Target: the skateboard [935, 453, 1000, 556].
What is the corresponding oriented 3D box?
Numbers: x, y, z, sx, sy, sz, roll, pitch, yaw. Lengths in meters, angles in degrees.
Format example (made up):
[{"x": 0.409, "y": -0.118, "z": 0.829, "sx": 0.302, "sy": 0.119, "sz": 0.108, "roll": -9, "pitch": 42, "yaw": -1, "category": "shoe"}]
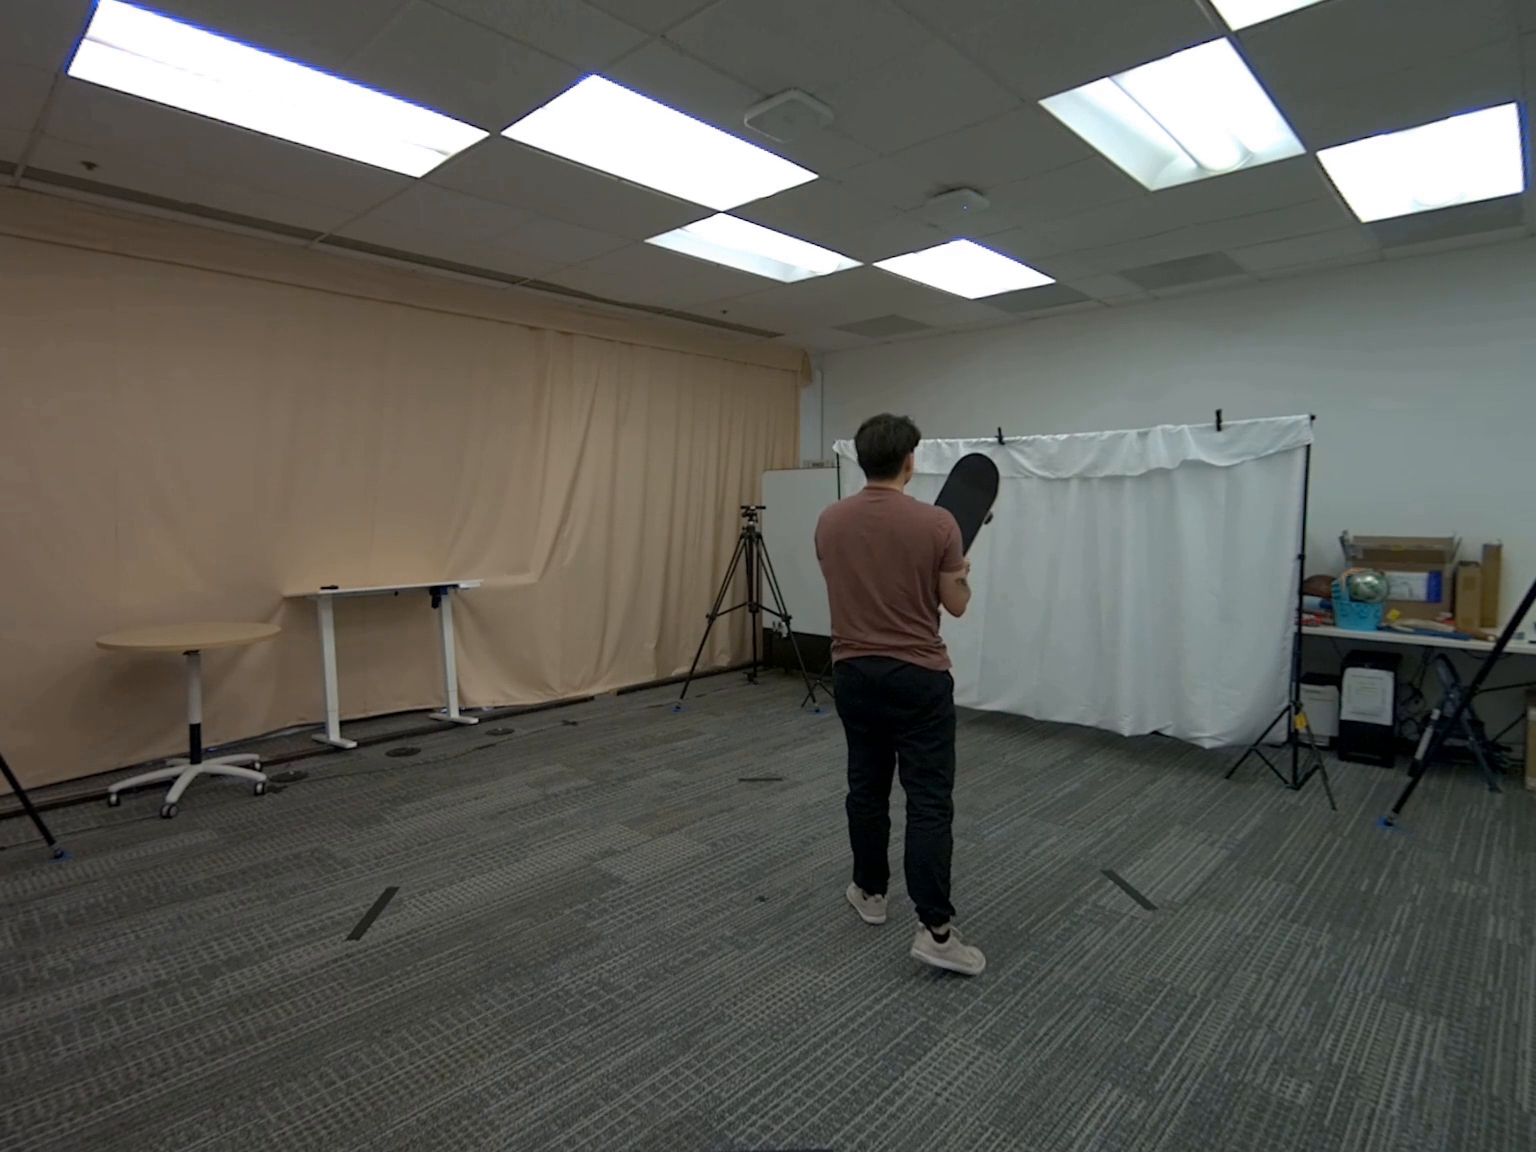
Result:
[{"x": 0.618, "y": -0.062, "z": 3.022, "sx": 0.200, "sy": 0.784, "sz": 0.107, "roll": 35, "pitch": 18, "yaw": 32, "category": "skateboard"}]
